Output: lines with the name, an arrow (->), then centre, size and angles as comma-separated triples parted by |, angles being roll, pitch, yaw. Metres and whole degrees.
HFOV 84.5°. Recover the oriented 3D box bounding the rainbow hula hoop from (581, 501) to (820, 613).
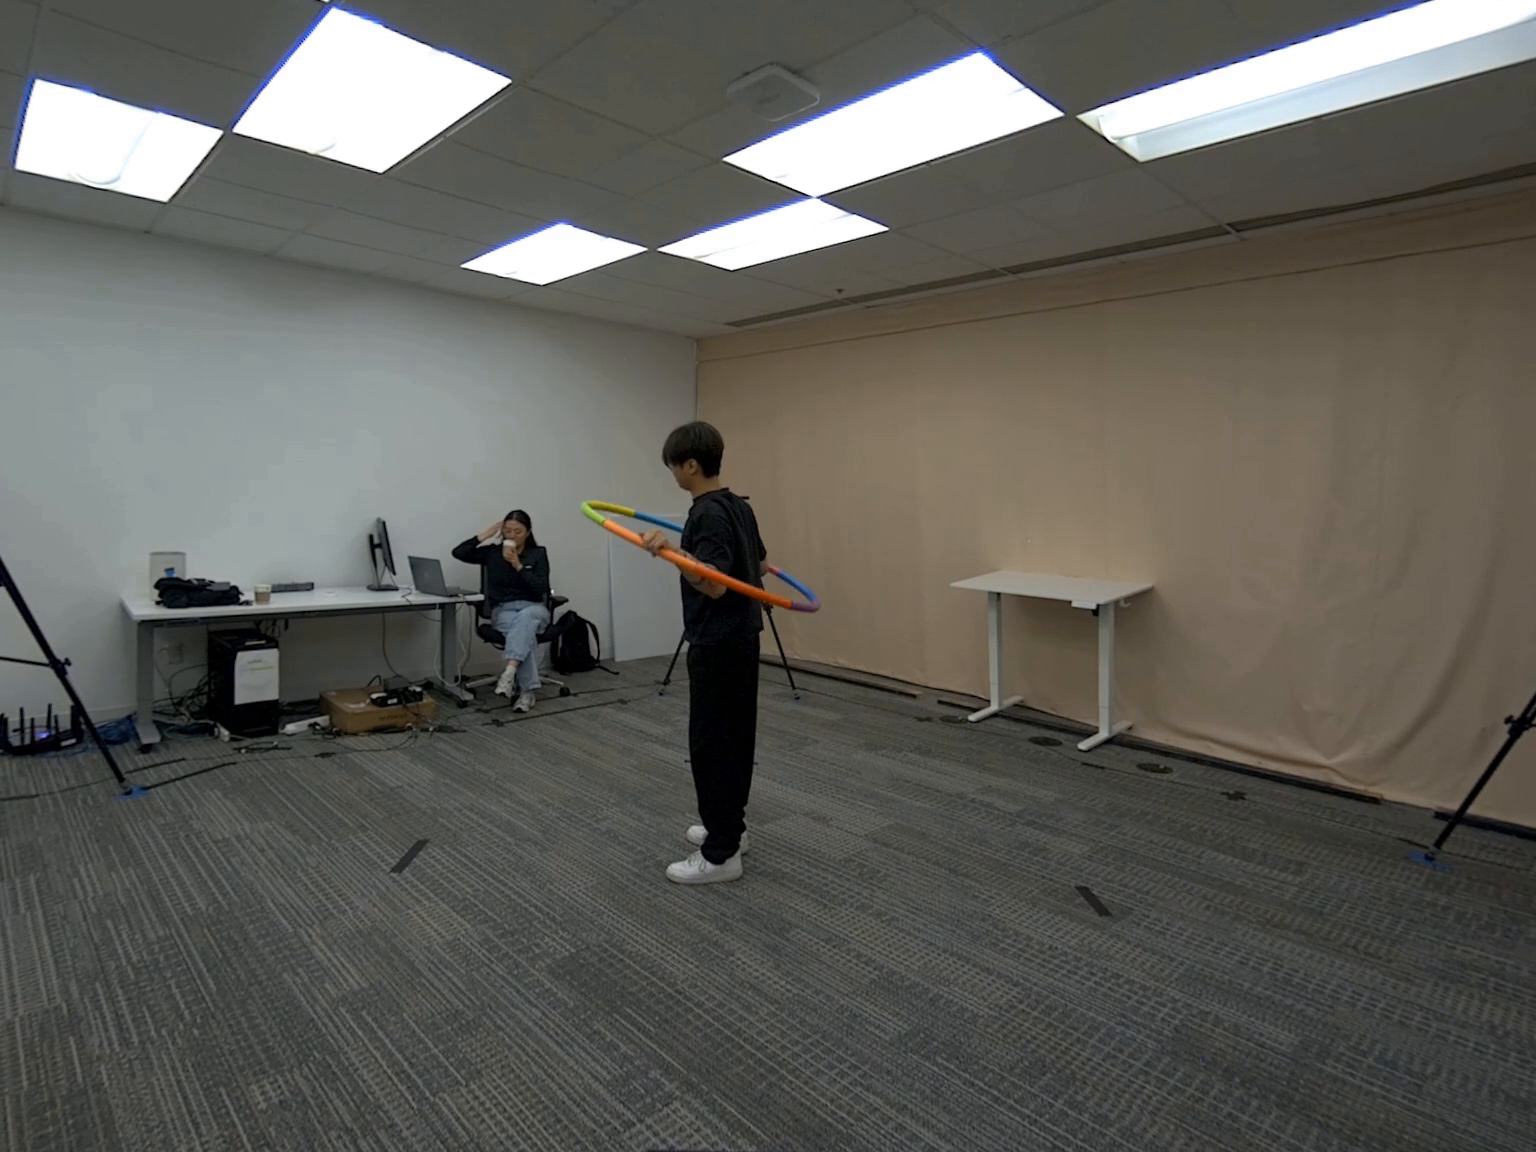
rainbow hula hoop -> -0.242, -0.094, 3.196 | 0.975, 0.035, 0.985 | 22, 7, -4
